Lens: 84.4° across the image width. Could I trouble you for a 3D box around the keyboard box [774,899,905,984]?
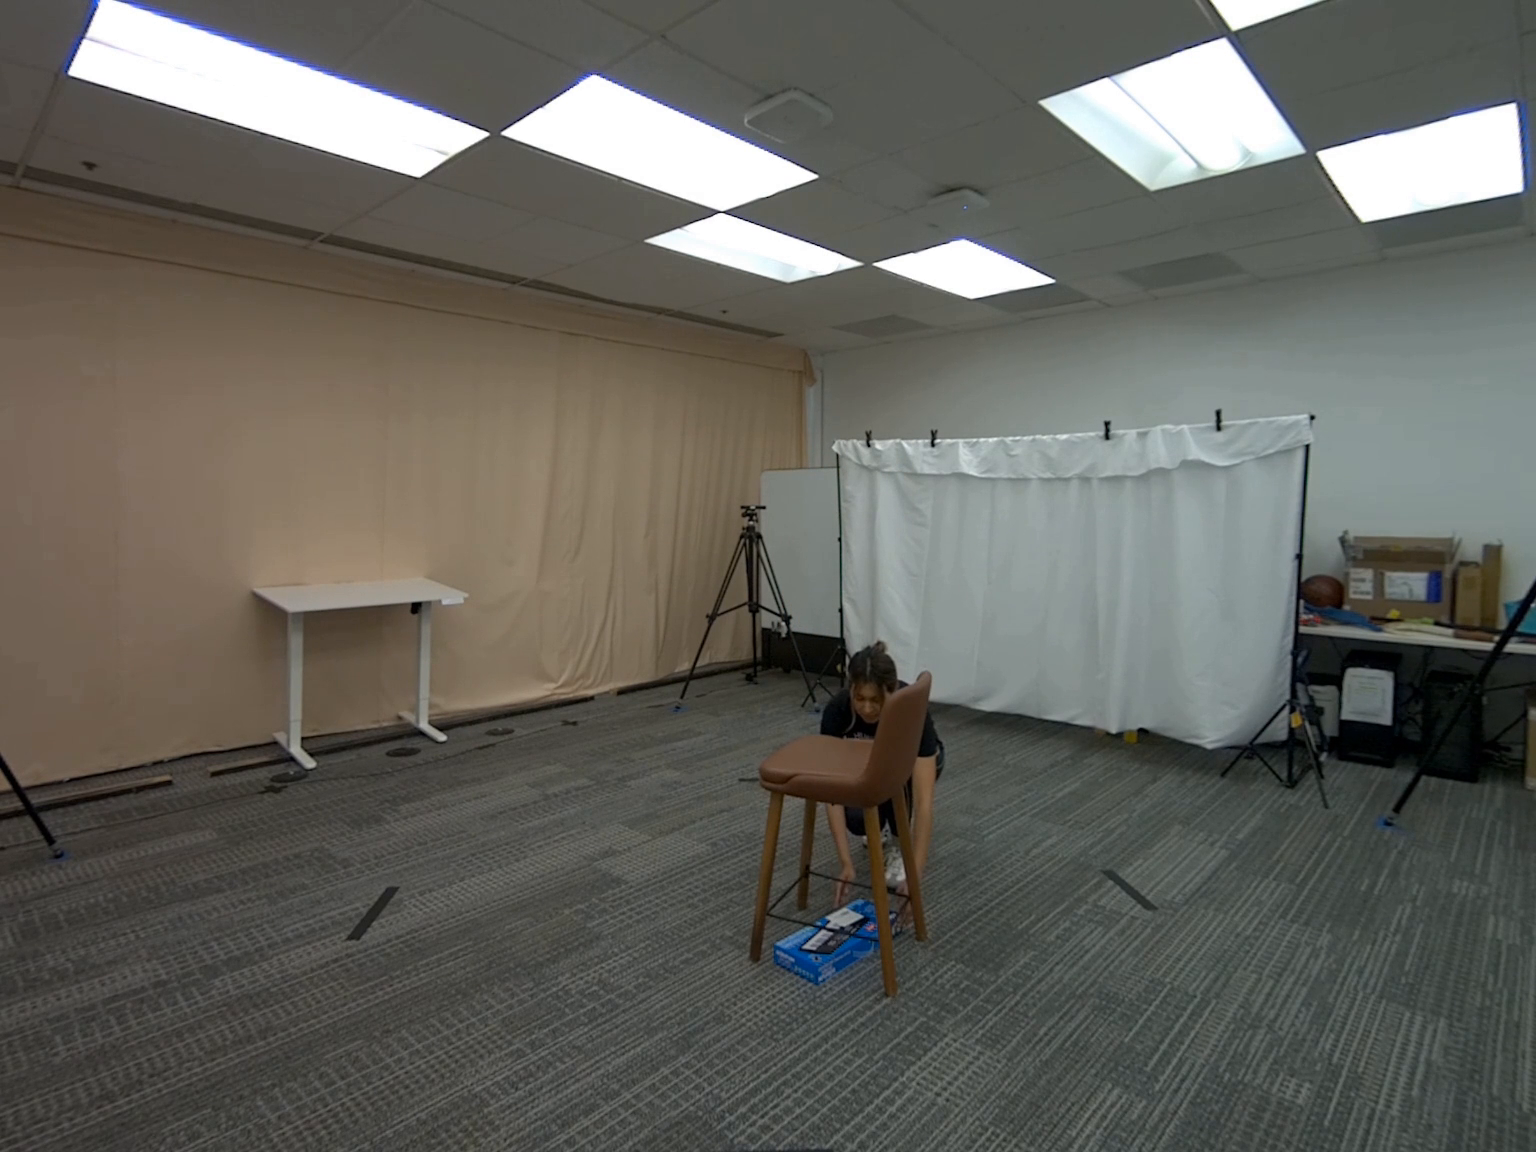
[{"bbox_3d":[0.230,1.147,2.651,0.182,0.059,0.423,5,7,44],"label":"keyboard box"}]
